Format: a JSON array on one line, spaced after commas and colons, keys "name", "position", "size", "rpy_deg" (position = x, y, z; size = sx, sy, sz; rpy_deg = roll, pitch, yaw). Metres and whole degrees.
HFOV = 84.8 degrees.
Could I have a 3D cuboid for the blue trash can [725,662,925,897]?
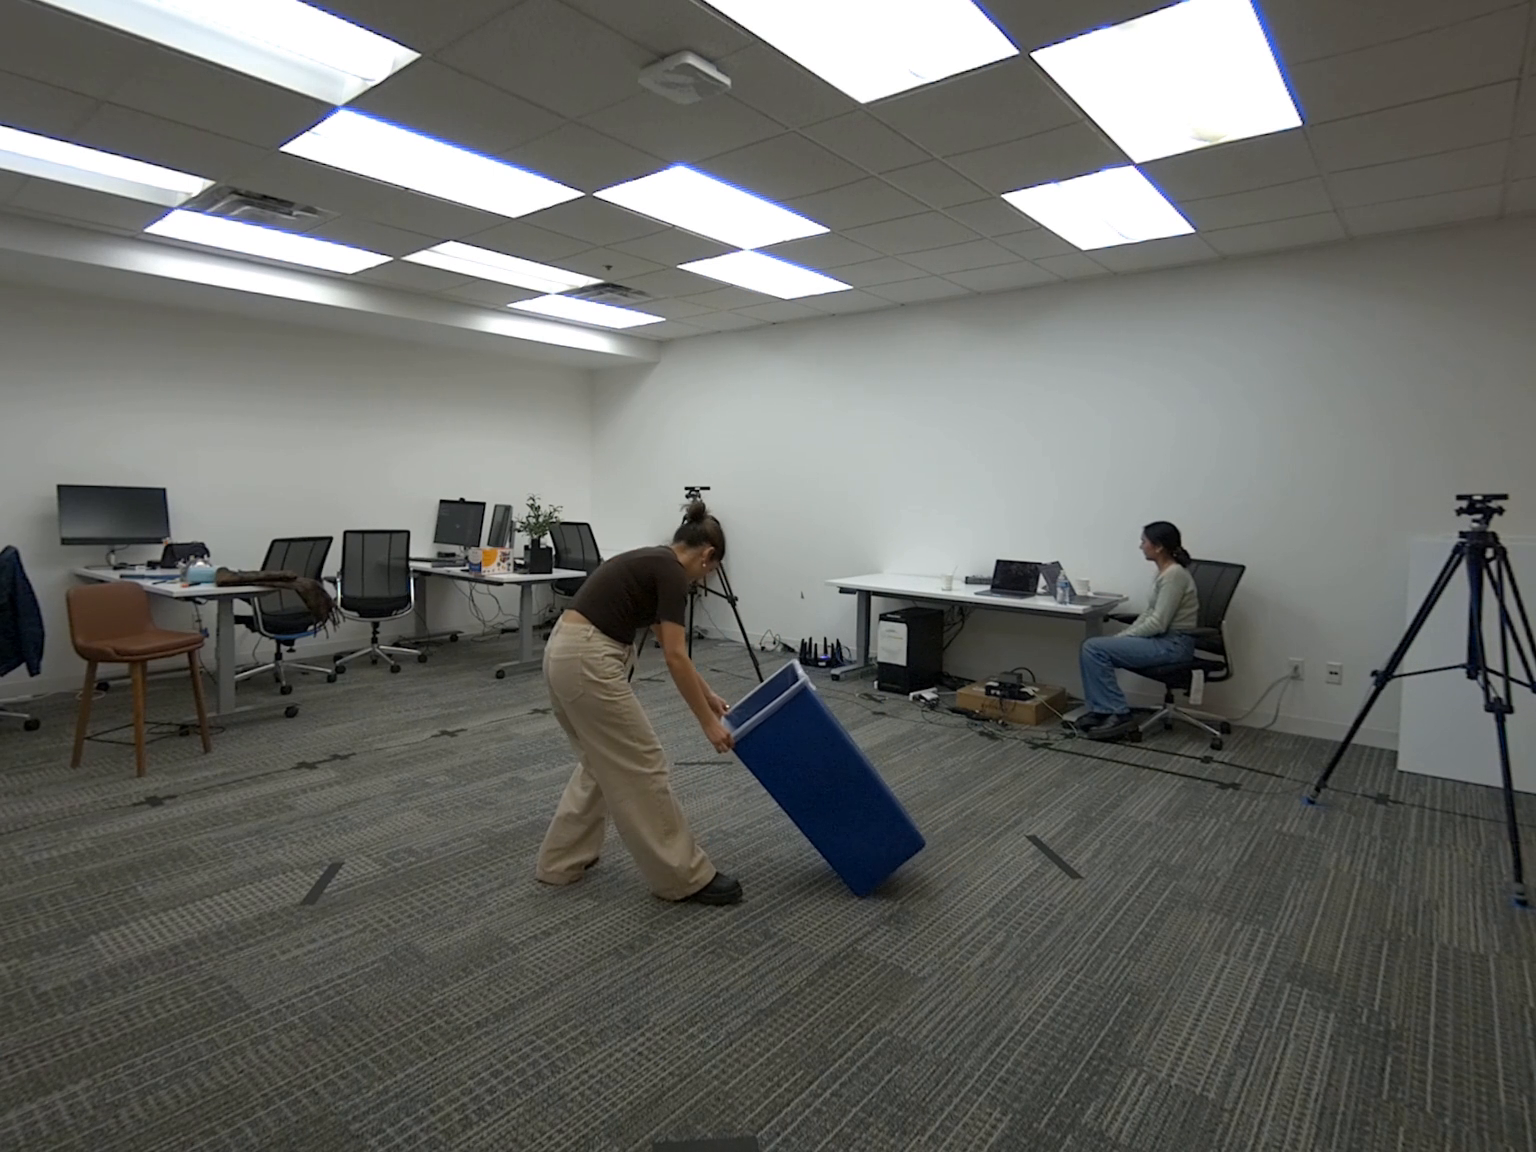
[{"name": "blue trash can", "position": [0.177, 0.719, 3.021], "size": [0.374, 0.711, 0.379], "rpy_deg": [-38, 3, 0]}]
